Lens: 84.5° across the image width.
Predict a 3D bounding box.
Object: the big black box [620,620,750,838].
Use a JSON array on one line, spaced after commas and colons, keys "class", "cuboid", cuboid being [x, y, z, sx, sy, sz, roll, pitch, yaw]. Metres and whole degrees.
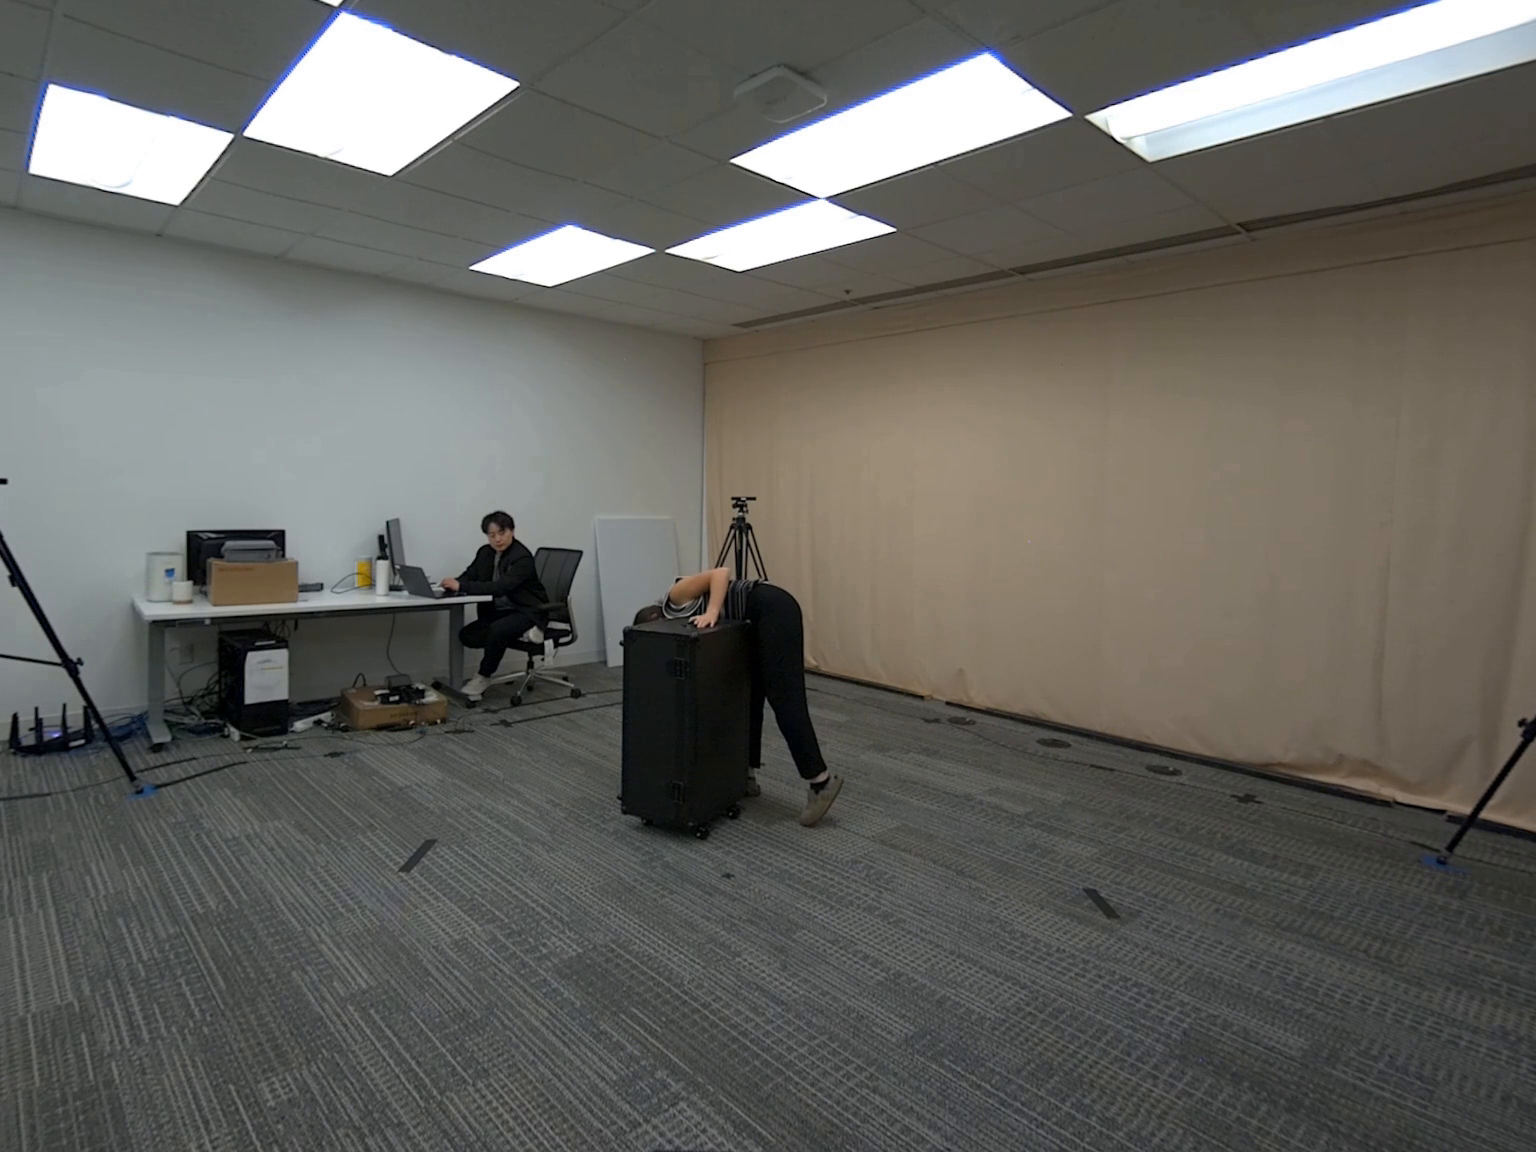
[{"class": "big black box", "cuboid": [-0.364, 0.638, 3.613, 0.404, 0.860, 0.511, 0, 2, 30]}]
